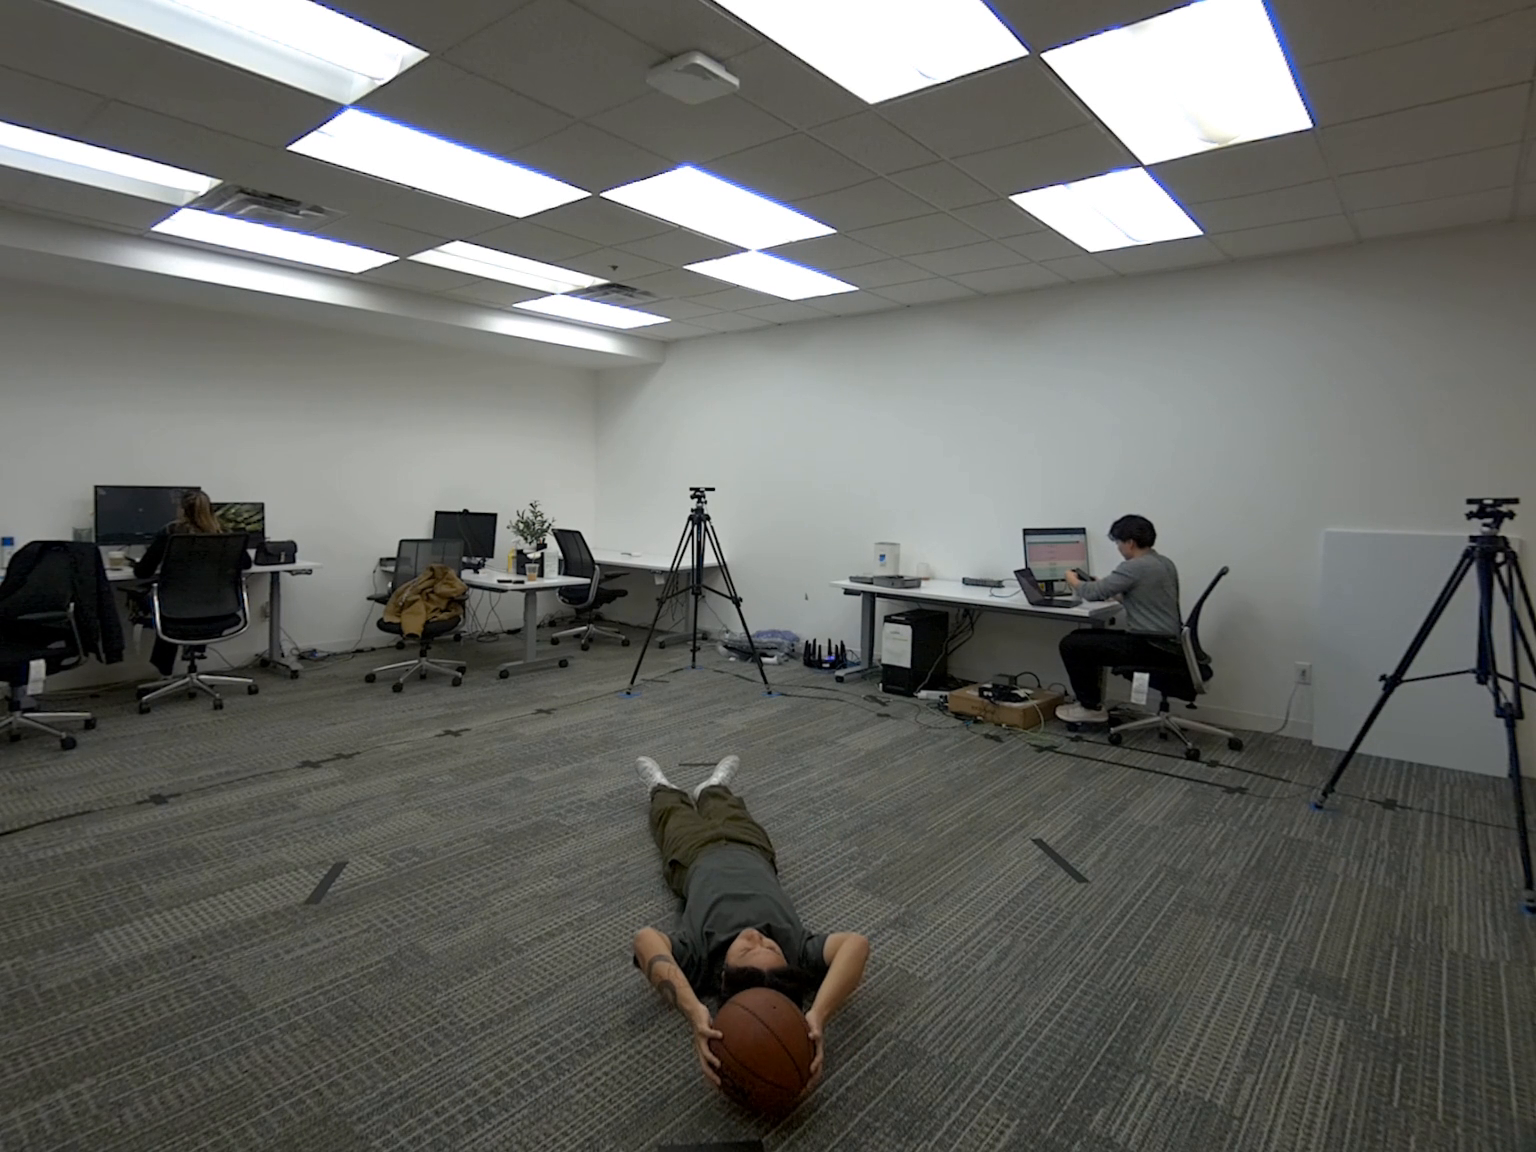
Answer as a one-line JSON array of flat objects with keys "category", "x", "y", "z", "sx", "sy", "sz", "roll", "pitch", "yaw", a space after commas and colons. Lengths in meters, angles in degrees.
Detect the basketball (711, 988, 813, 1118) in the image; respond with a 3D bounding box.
[{"category": "basketball", "x": -0.023, "y": 1.057, "z": 1.915, "sx": 0.235, "sy": 0.235, "sz": 0.237, "roll": 1, "pitch": 4, "yaw": -2}]
